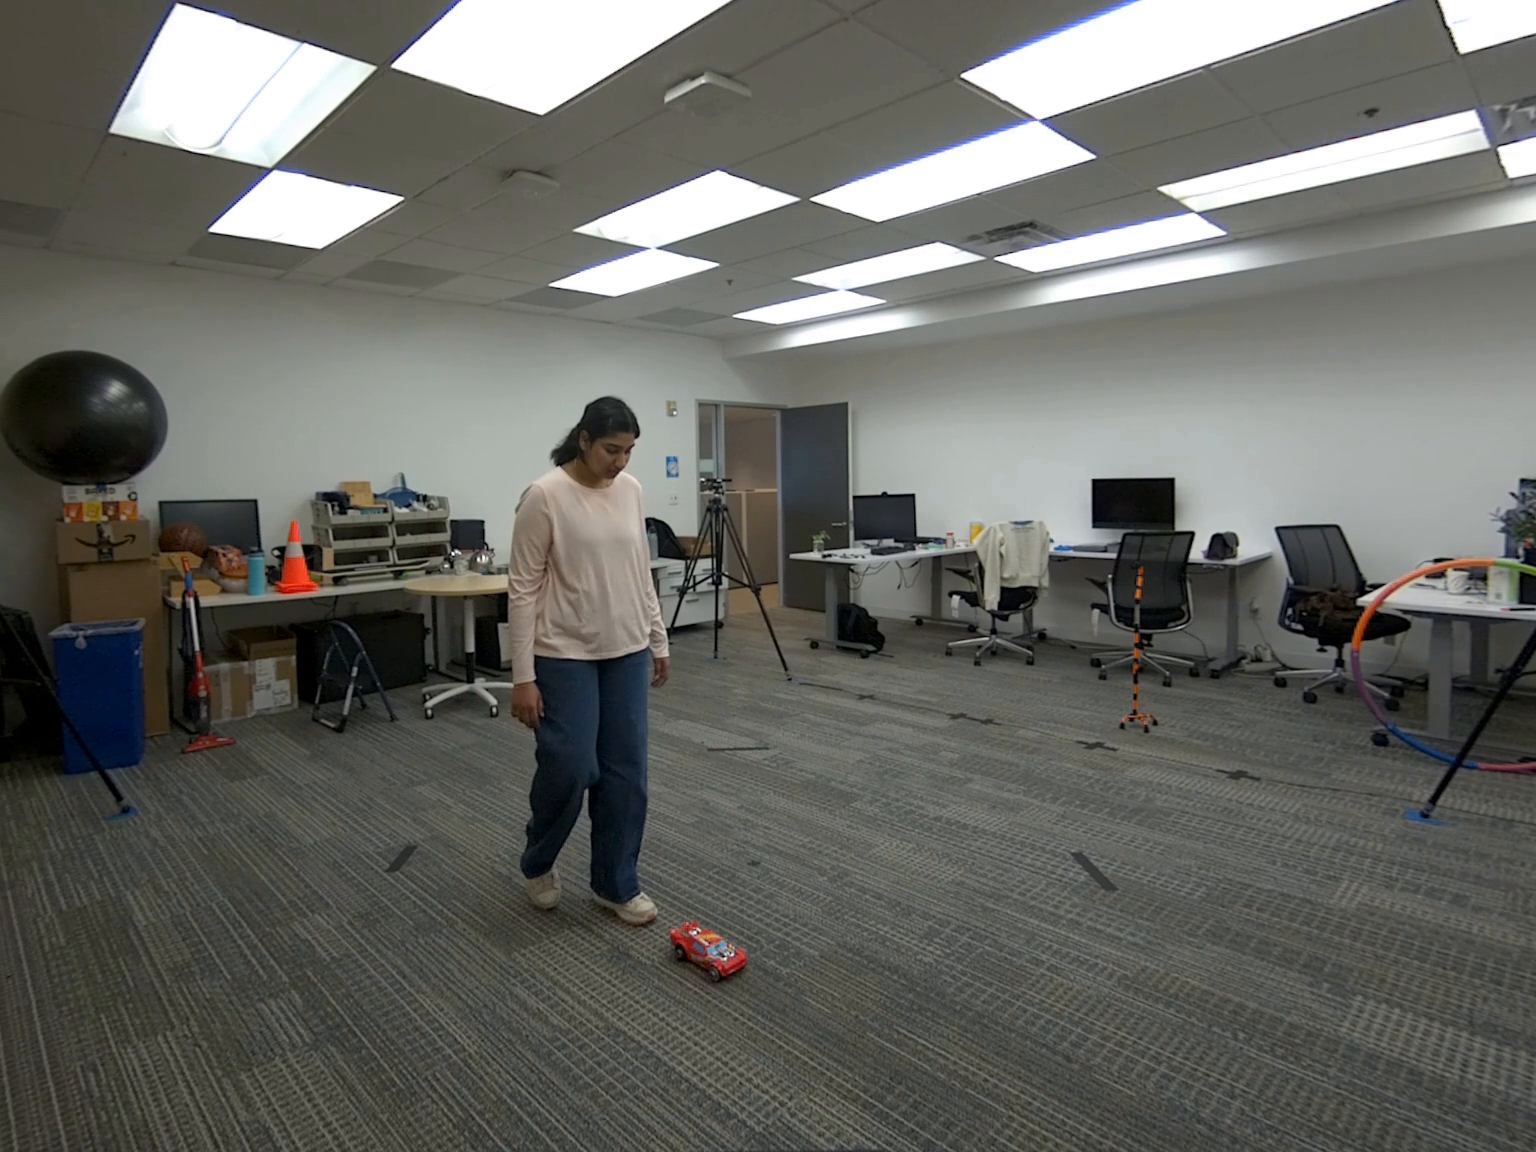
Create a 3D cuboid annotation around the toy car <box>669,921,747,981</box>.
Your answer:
[{"bbox_3d":[-0.177,1.087,2.484,0.127,0.082,0.264,-8,19,-44],"label":"toy car"}]
